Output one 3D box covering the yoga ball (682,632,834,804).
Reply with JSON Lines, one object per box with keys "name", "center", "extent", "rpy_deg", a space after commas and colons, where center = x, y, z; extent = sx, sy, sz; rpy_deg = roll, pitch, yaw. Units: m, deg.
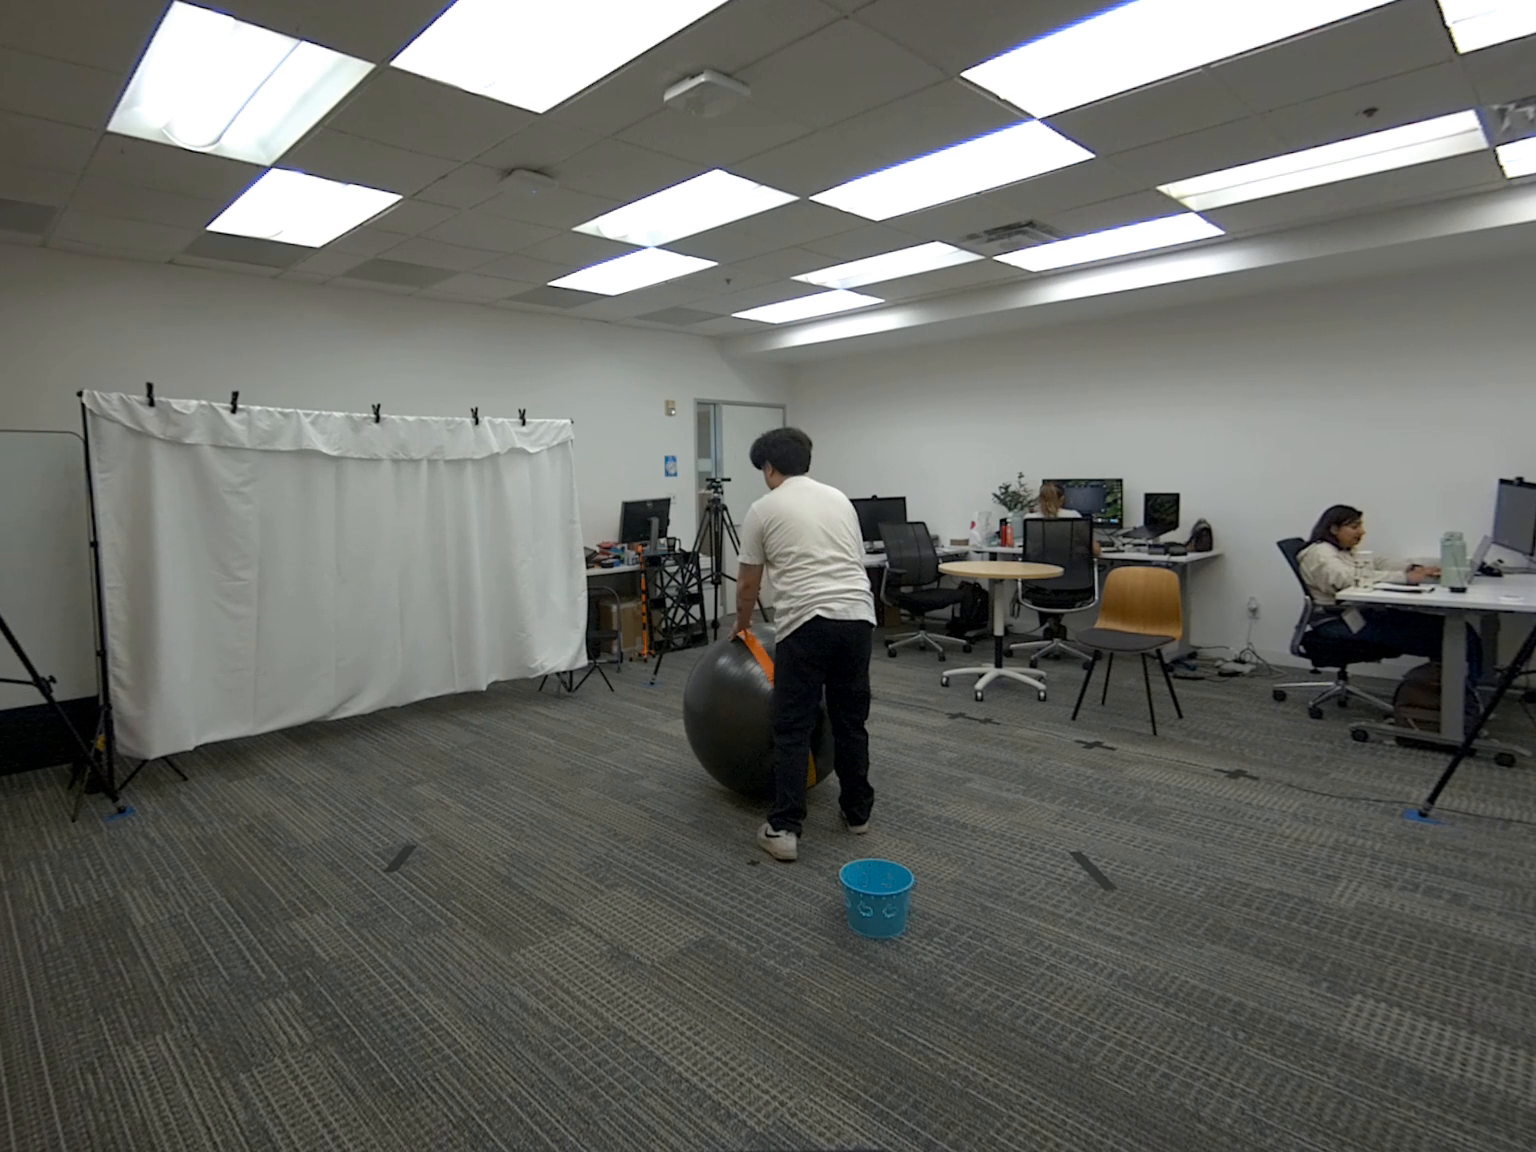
{"name": "yoga ball", "center": [0.005, 0.593, 3.790], "extent": [0.757, 0.755, 0.762], "rpy_deg": [-1, 5, -2]}
